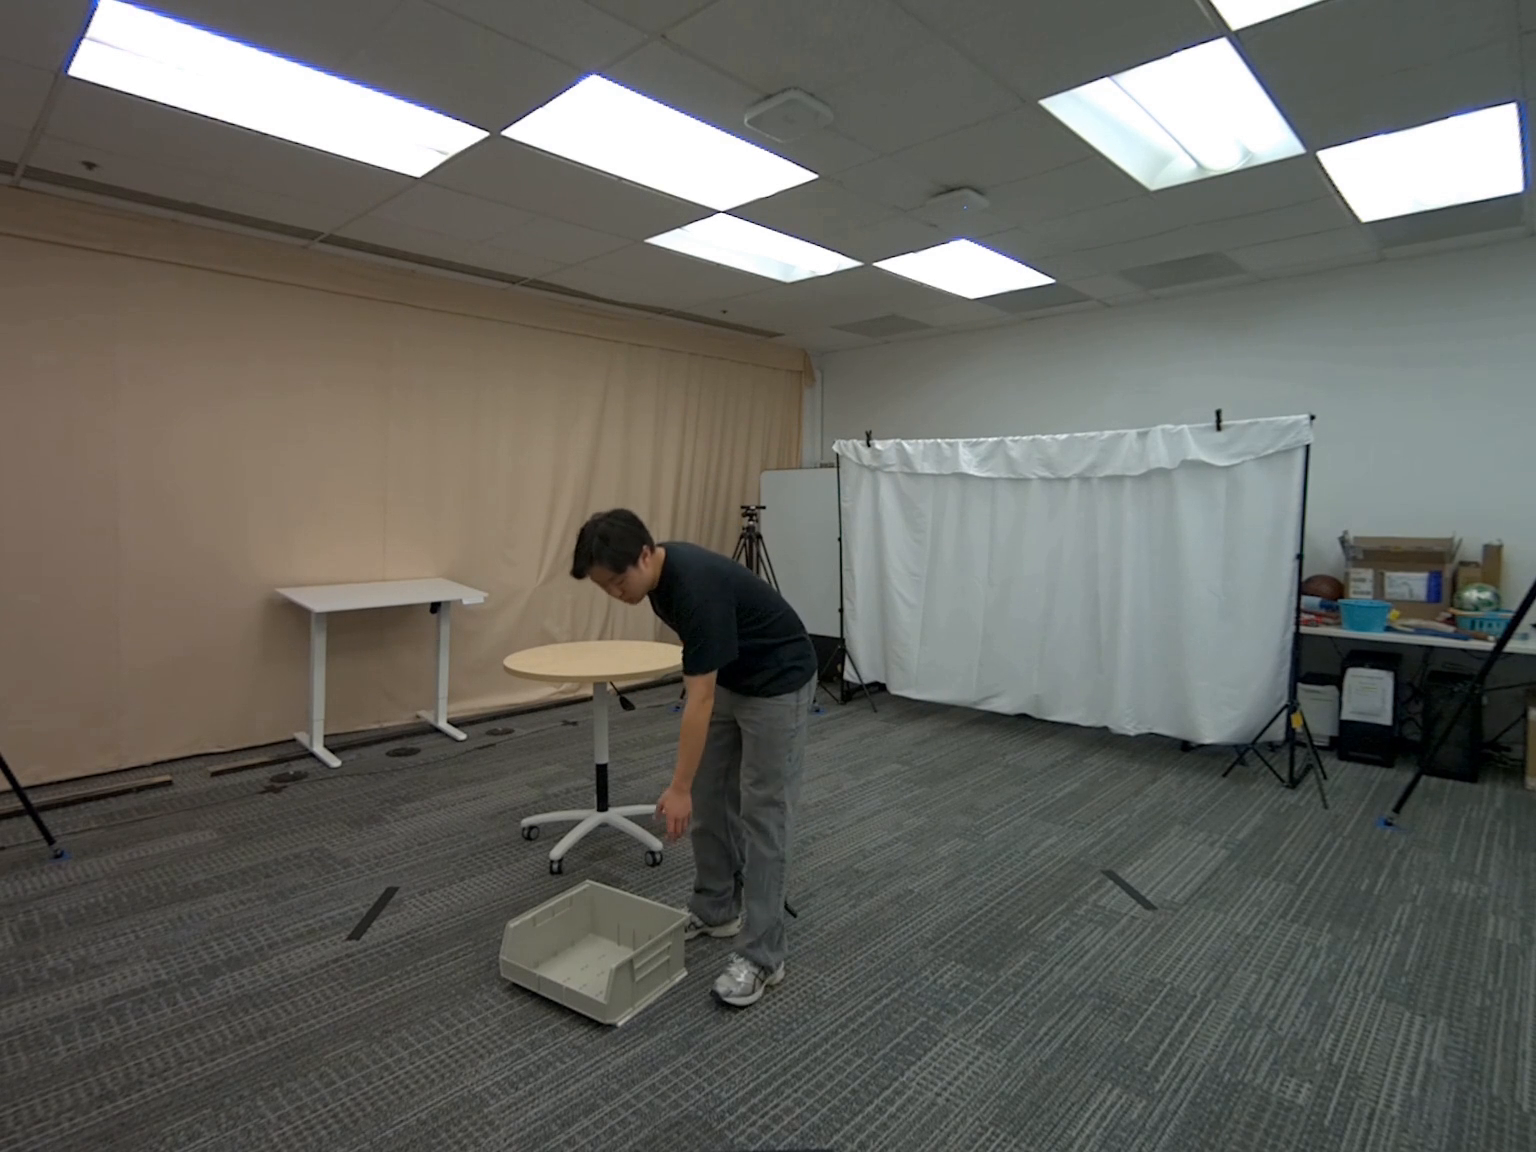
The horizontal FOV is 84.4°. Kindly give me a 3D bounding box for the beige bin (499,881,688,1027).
[{"bbox_3d":[-0.501,1.101,2.471,0.435,0.188,0.366,3,4,34],"label":"beige bin"}]
